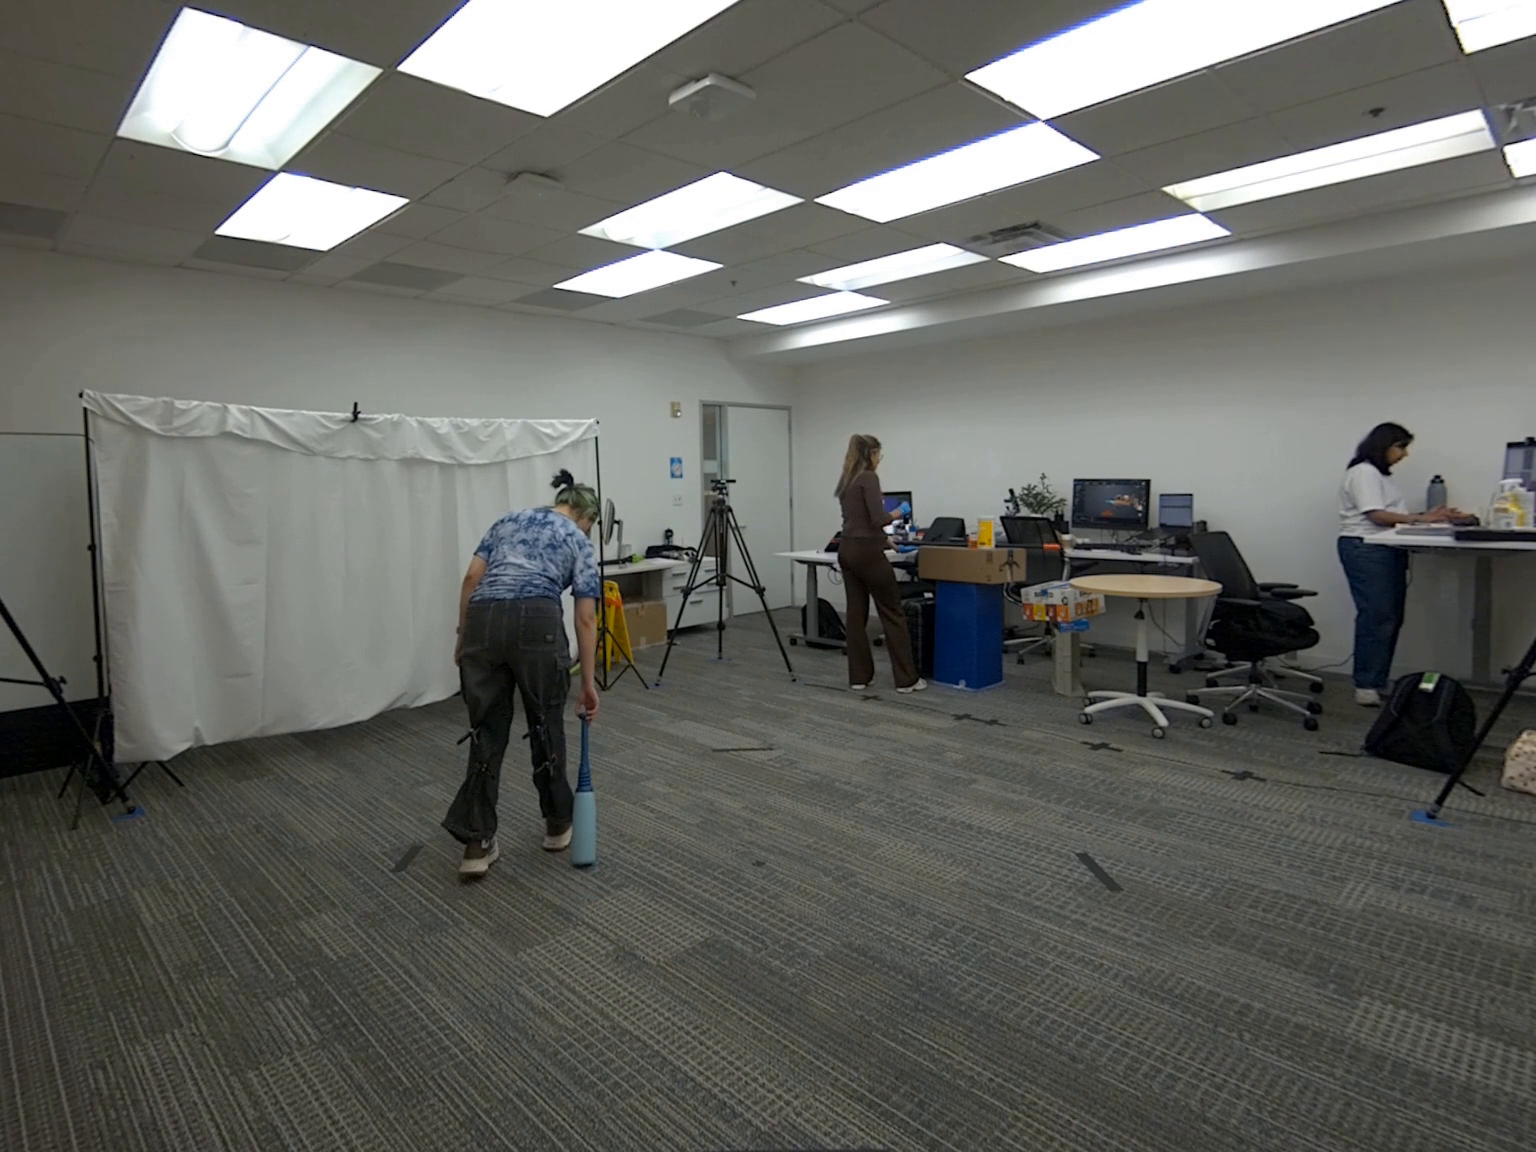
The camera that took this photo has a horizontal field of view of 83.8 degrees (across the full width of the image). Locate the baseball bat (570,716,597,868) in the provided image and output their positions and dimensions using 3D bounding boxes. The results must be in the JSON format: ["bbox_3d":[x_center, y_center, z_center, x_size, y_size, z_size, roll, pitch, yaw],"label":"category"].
[{"bbox_3d":[-0.688,0.787,3.184,0.089,0.551,0.088,-3,-16,-2],"label":"baseball bat"}]
